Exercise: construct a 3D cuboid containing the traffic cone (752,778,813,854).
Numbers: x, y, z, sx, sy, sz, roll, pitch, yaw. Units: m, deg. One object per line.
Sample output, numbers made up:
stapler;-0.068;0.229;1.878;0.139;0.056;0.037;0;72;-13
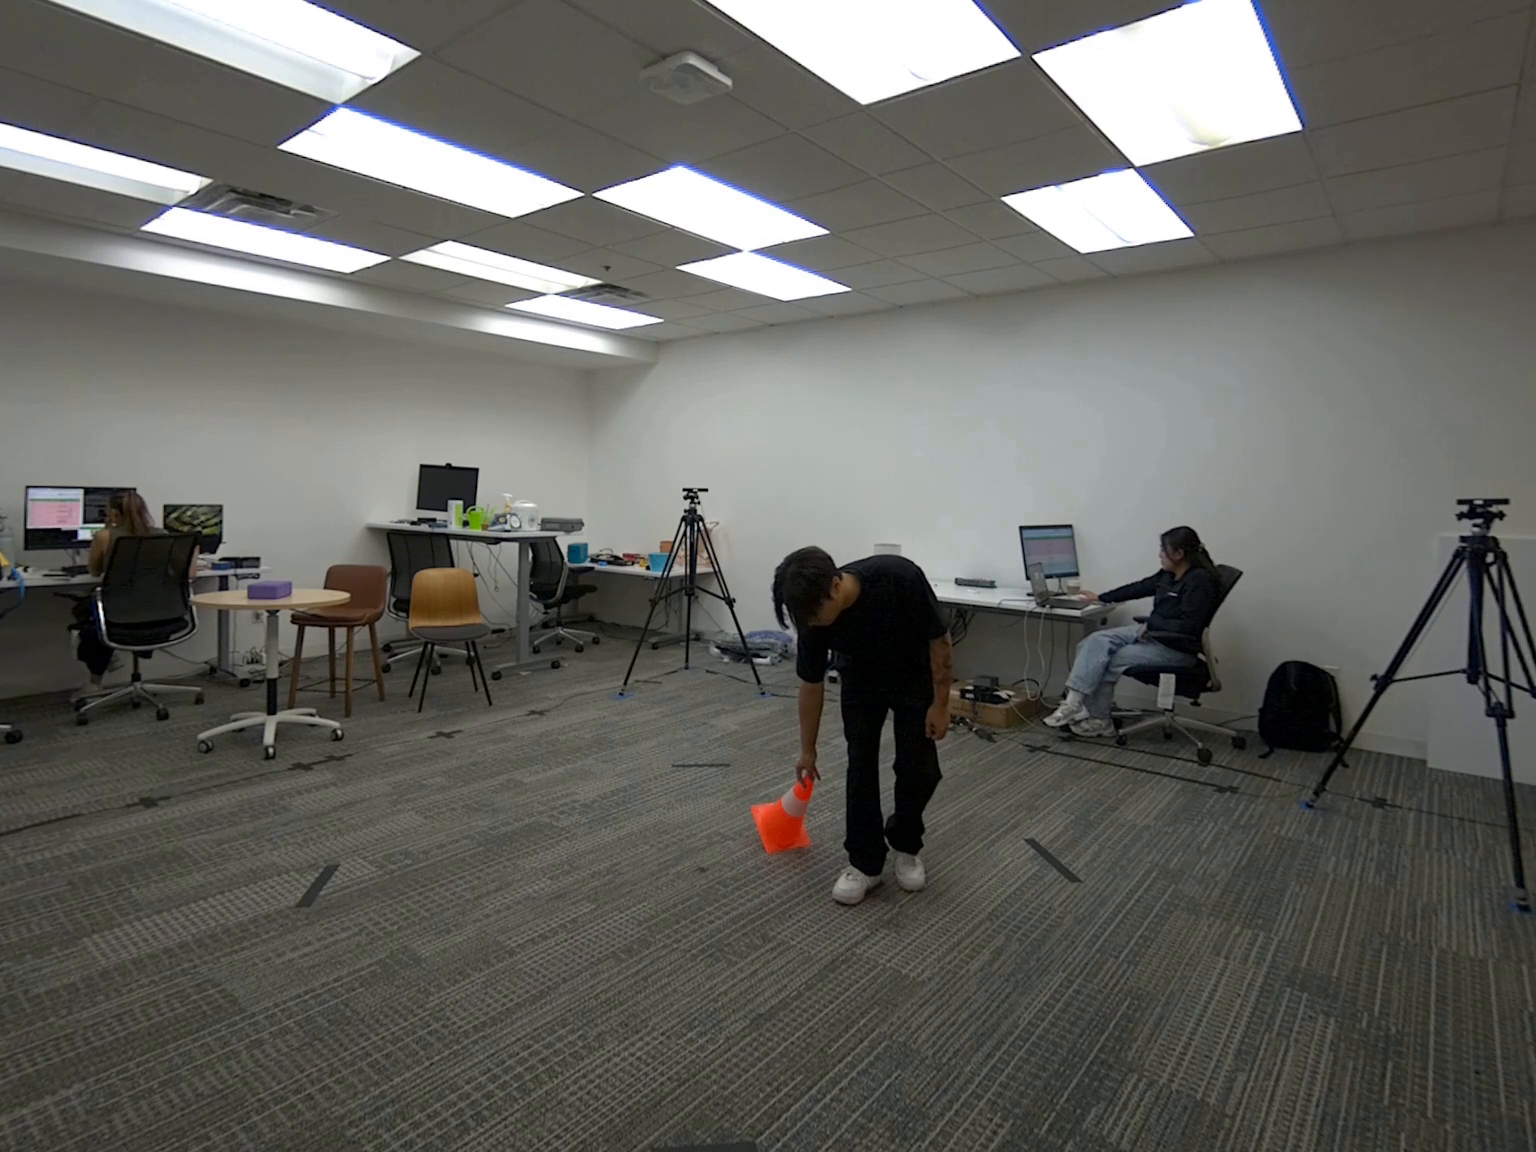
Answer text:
traffic cone;0.101;0.856;3.248;0.198;0.378;0.213;-2;46;-27
